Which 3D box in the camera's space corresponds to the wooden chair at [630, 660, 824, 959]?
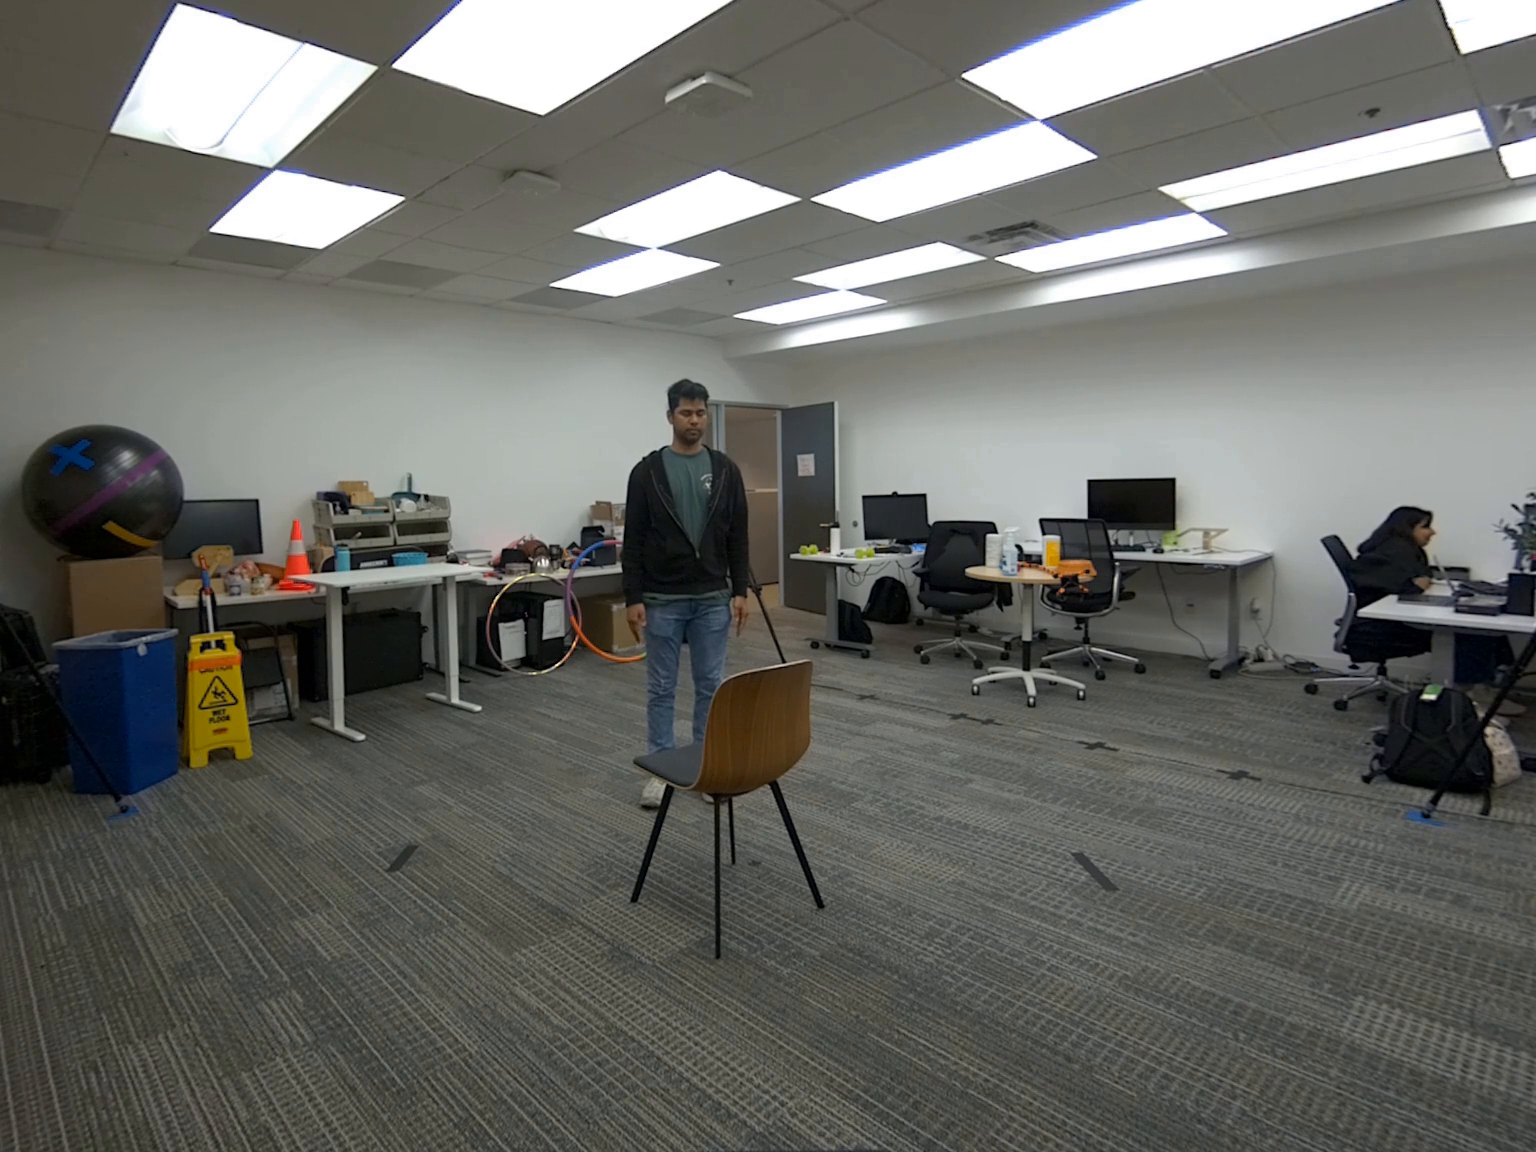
[{"bbox_3d":[-0.141,0.654,2.785,0.466,0.871,0.541,-6,11,-41],"label":"wooden chair"}]
